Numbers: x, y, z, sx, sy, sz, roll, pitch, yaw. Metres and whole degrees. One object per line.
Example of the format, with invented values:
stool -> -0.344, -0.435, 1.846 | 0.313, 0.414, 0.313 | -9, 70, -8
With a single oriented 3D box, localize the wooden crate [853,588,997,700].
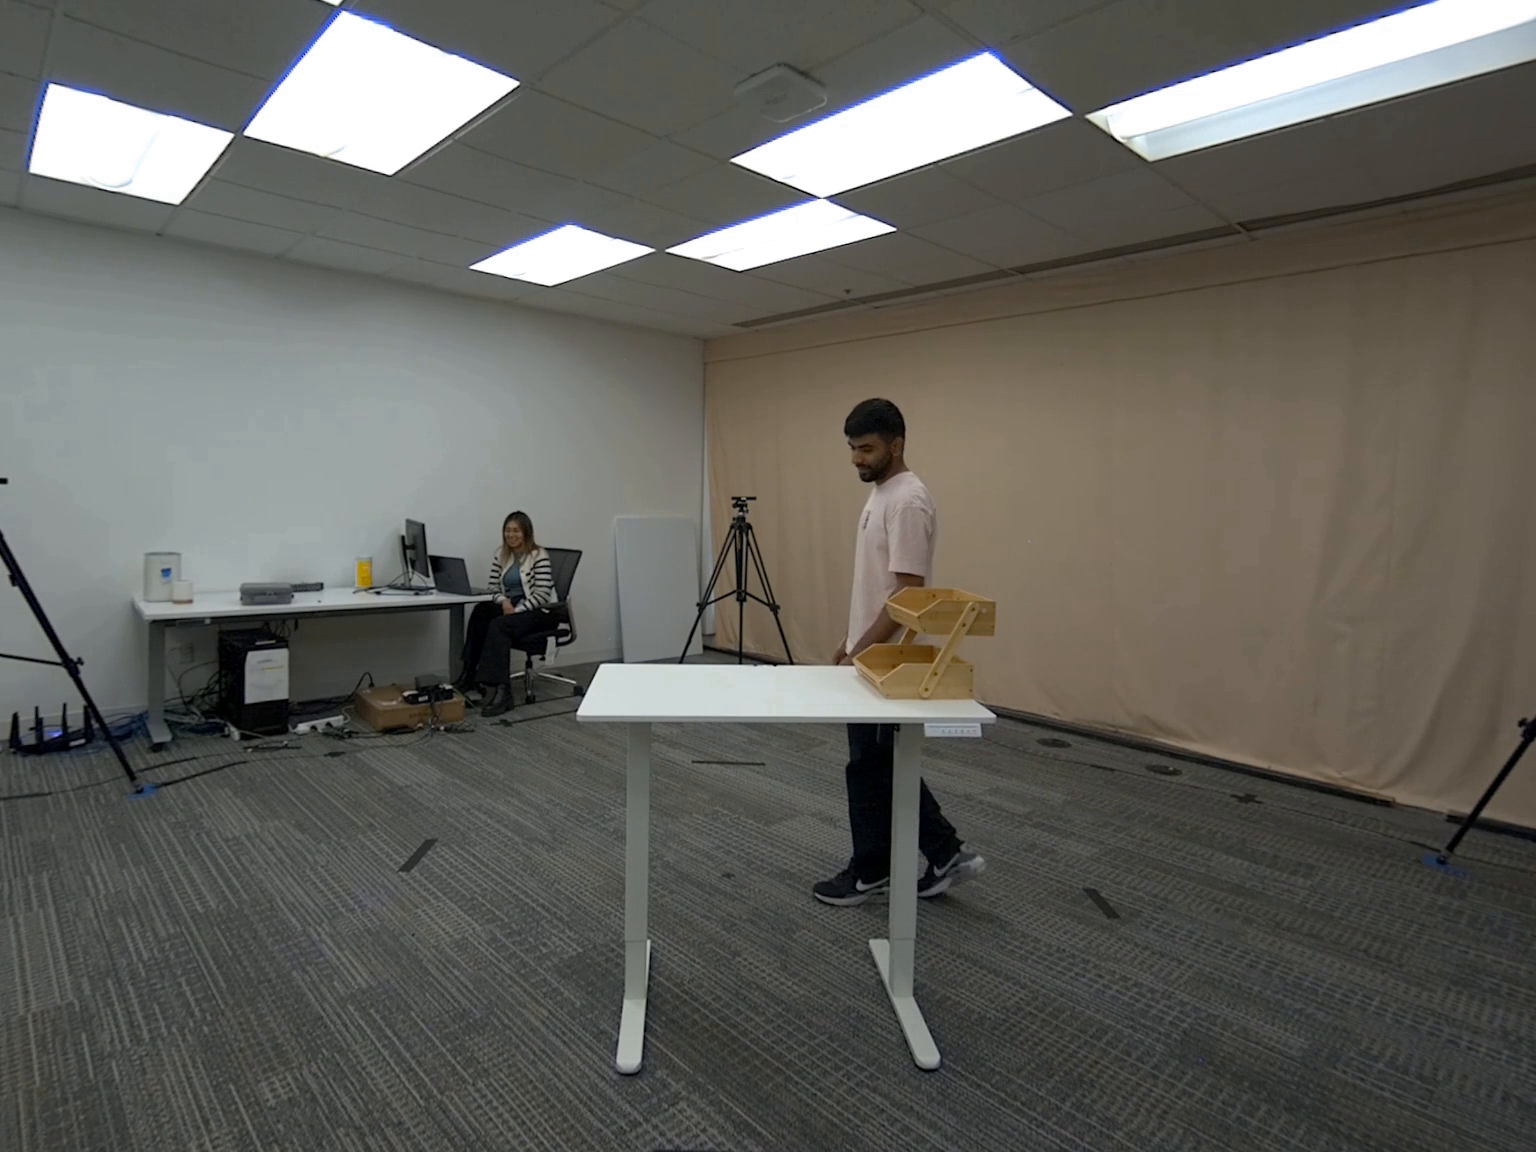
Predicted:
wooden crate -> 0.401, 0.172, 2.317 | 0.300, 0.272, 0.327 | 3, 4, -7
